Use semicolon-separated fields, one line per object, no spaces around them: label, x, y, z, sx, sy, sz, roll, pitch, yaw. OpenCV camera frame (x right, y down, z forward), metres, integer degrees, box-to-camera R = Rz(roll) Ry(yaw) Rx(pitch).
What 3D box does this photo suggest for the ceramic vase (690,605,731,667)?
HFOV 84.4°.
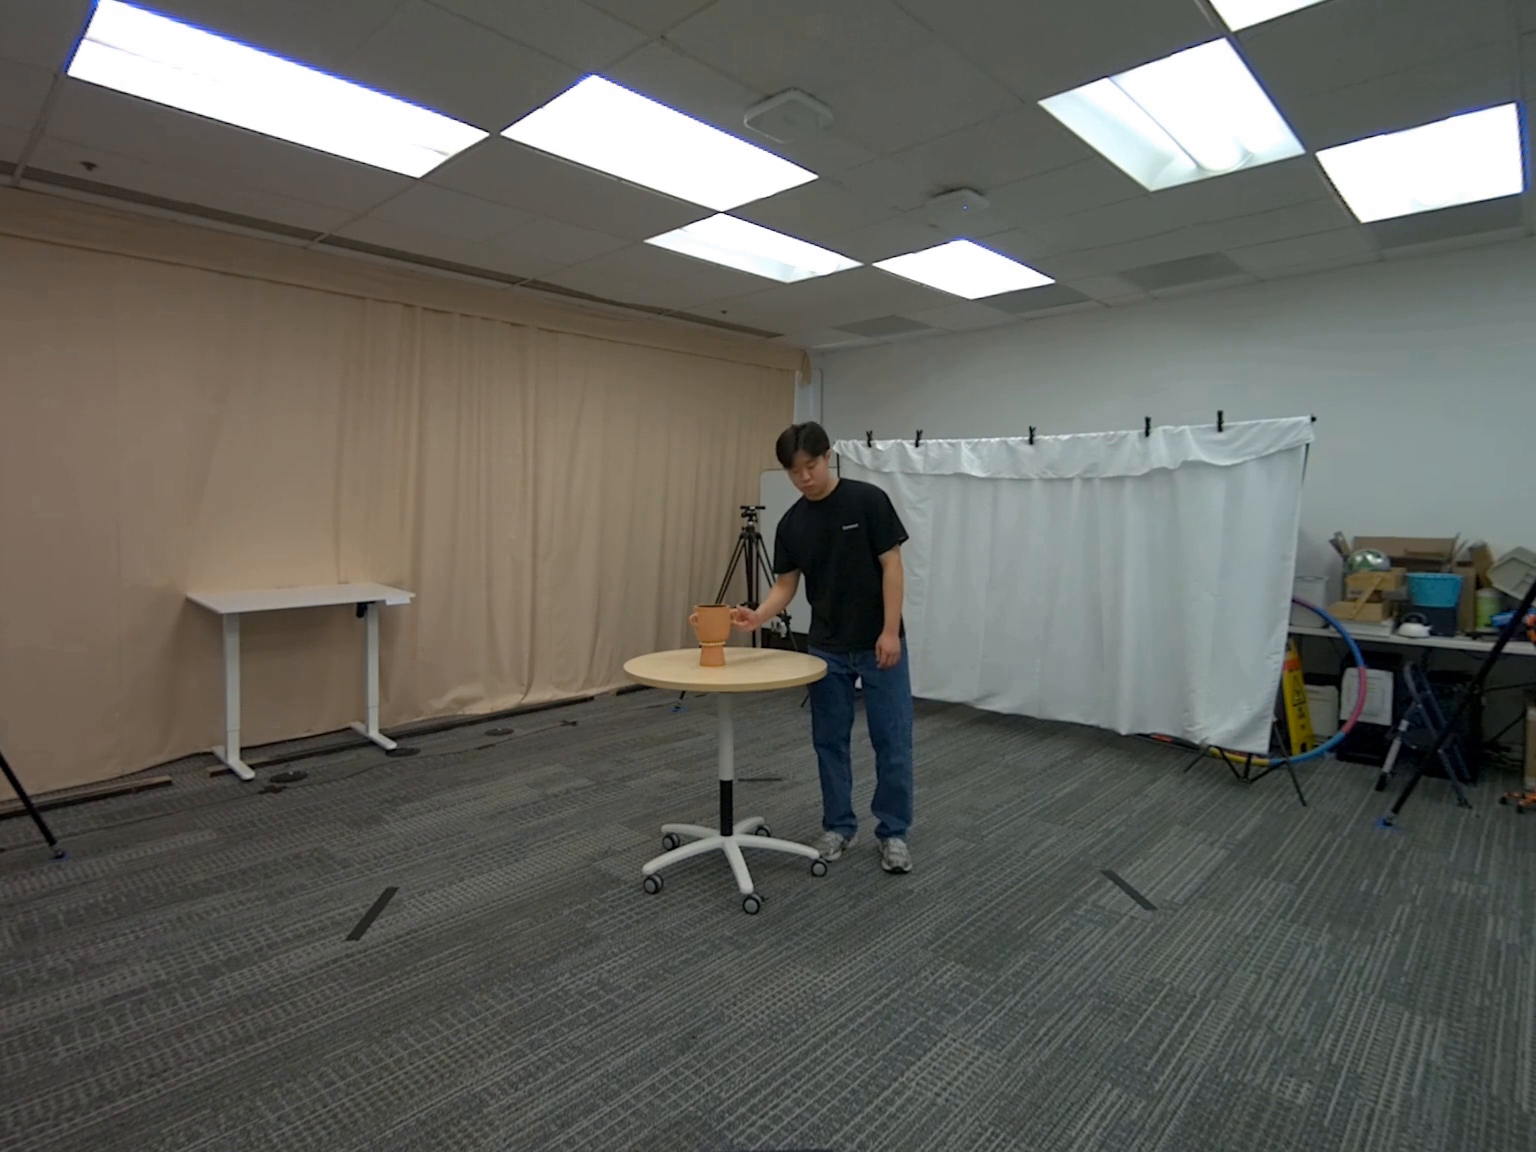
ceramic vase;-0.206;0.225;3.162;0.161;0.219;0.133;0;3;10
